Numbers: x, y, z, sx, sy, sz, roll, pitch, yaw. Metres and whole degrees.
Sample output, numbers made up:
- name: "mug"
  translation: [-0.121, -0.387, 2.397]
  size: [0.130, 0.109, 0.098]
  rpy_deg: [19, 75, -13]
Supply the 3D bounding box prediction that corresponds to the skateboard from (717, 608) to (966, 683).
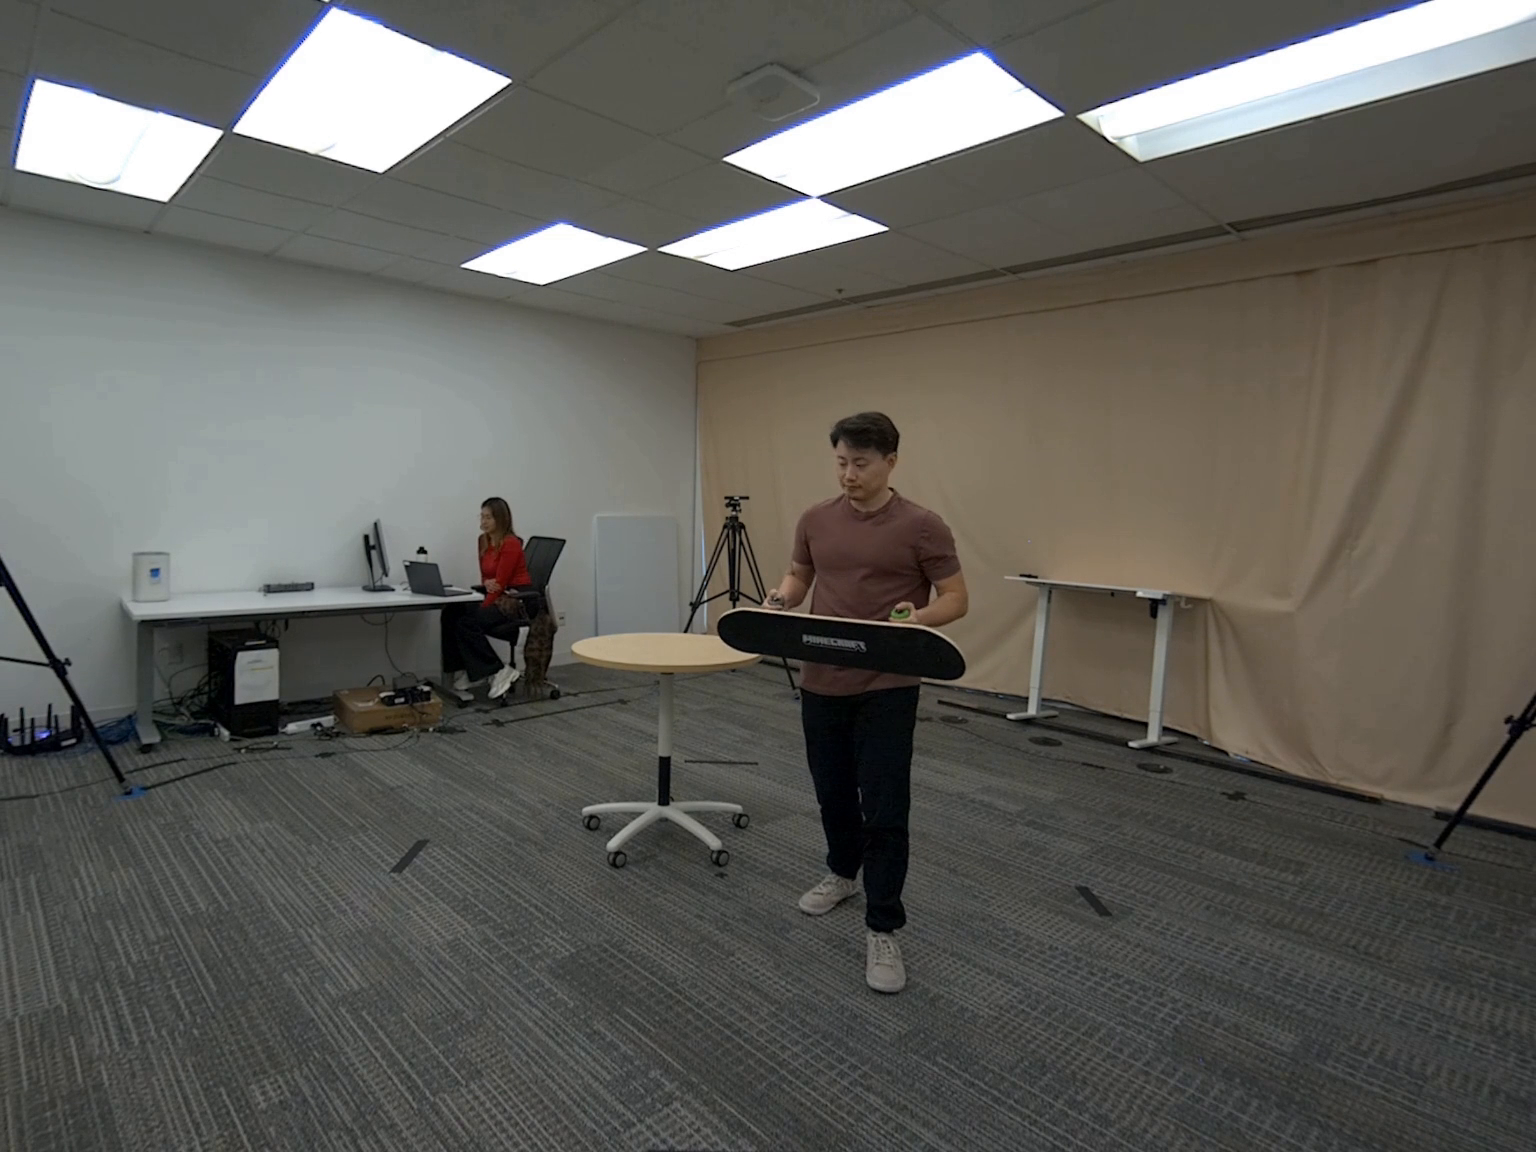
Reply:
- name: "skateboard"
  translation: [0.184, 0.174, 2.468]
  size: [0.801, 0.188, 0.111]
  rpy_deg: [4, 43, 27]
